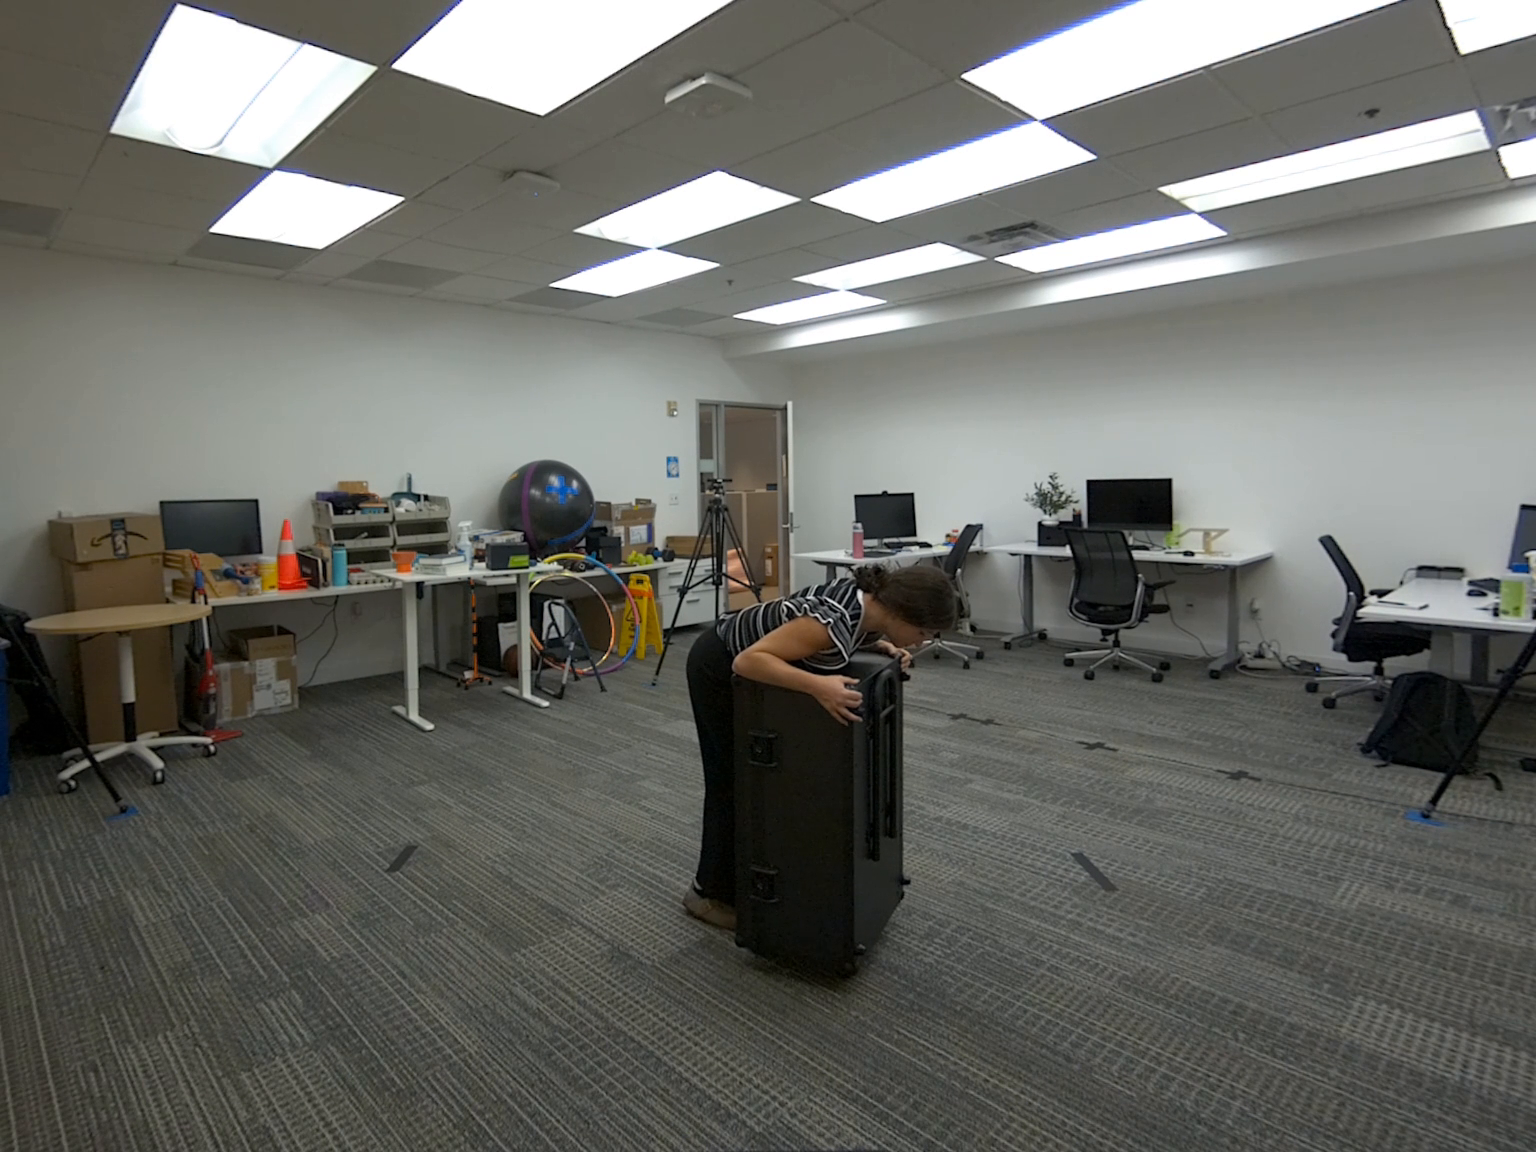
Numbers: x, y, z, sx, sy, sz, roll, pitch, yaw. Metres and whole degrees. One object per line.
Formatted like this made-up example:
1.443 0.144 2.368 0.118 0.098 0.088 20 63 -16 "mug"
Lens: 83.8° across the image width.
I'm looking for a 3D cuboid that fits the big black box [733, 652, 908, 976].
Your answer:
0.186 0.695 2.537 0.405 0.858 0.512 2 5 24 "big black box"
